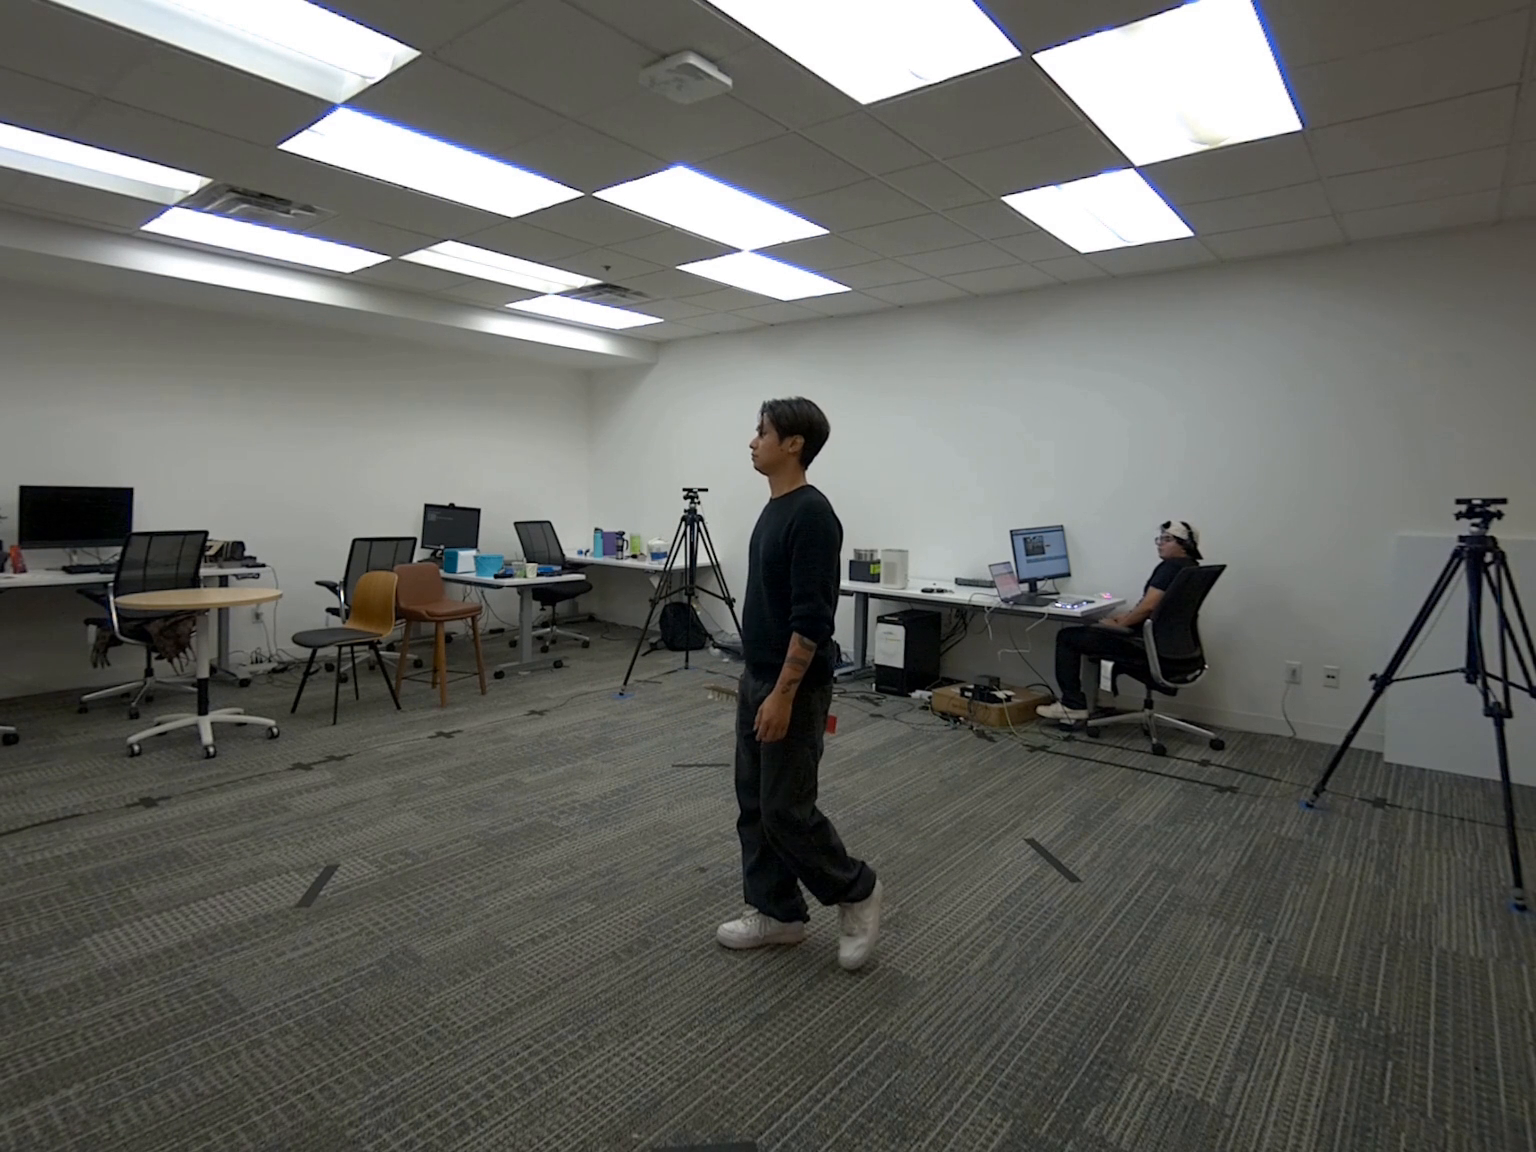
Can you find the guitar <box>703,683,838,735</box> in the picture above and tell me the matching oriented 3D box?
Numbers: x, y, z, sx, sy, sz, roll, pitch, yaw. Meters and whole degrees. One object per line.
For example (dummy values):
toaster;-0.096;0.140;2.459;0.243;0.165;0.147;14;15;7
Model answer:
guitar;-0.012;0.447;2.908;0.488;0.071;0.195;15;-12;-15
